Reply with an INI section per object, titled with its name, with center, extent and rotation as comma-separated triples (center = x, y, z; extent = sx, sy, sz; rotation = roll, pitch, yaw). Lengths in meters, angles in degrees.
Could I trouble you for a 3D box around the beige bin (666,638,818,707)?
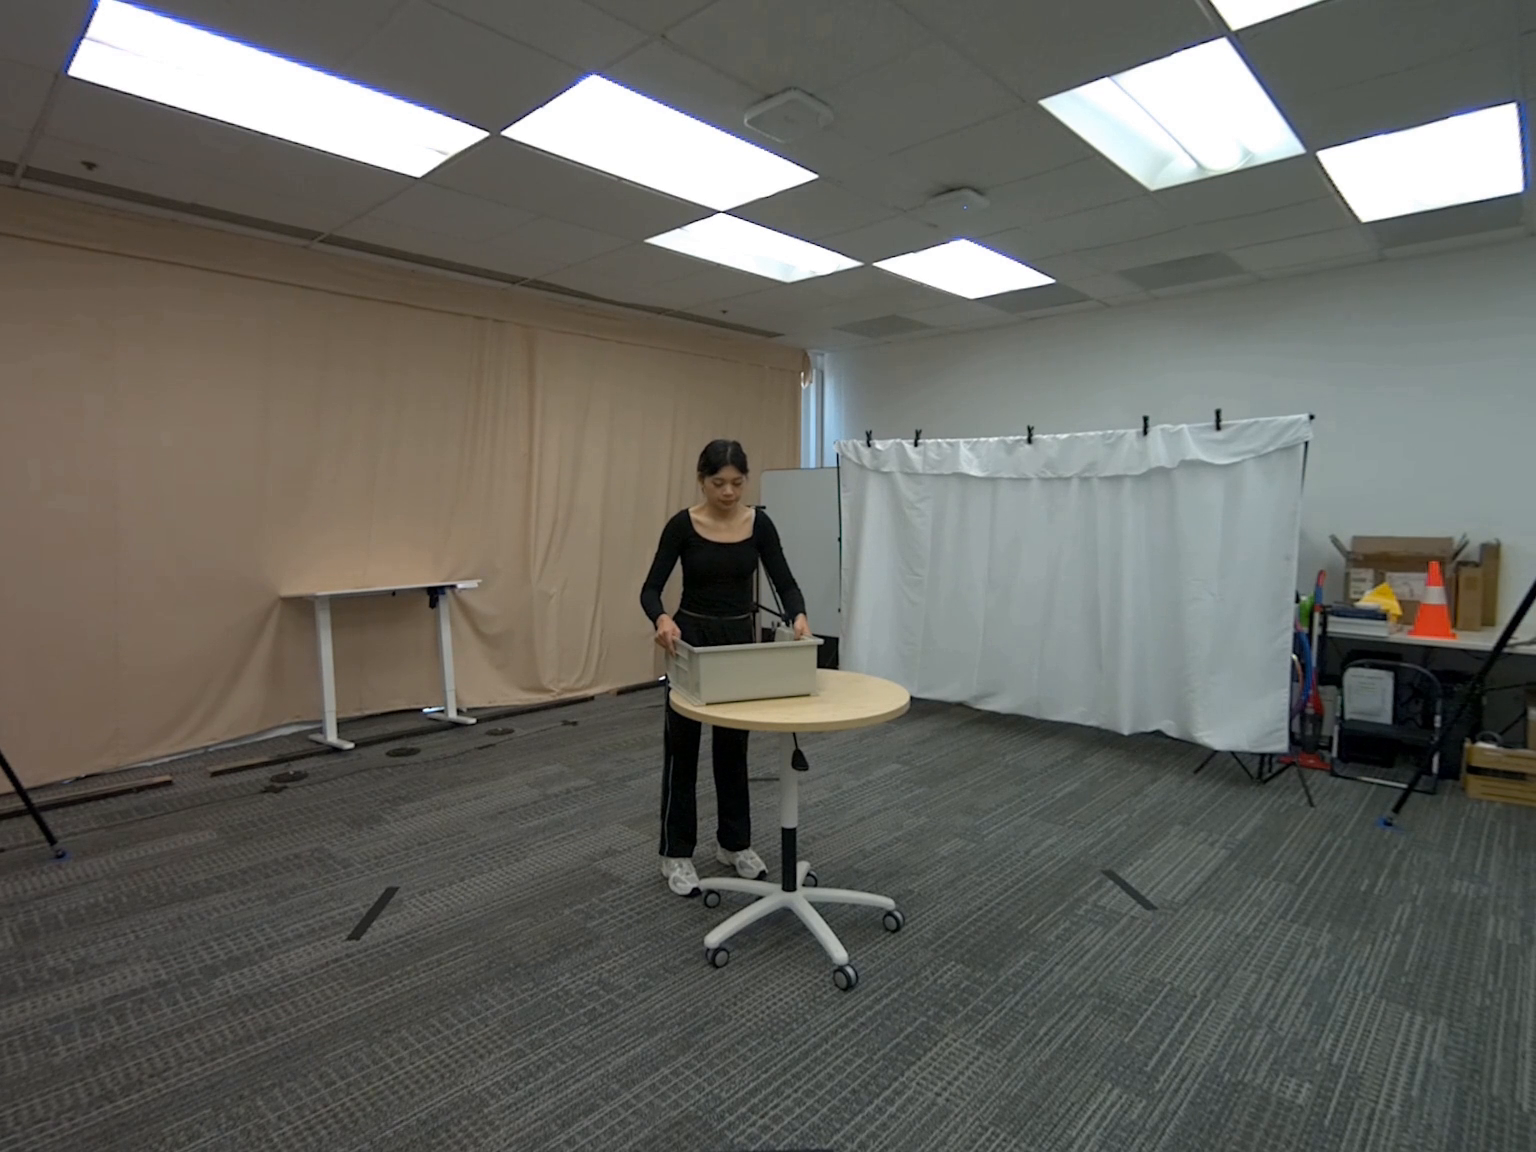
[beige bin]
center = -0.087, 0.275, 2.749
extent = 0.414, 0.188, 0.386
rotation = -1, 7, -19
